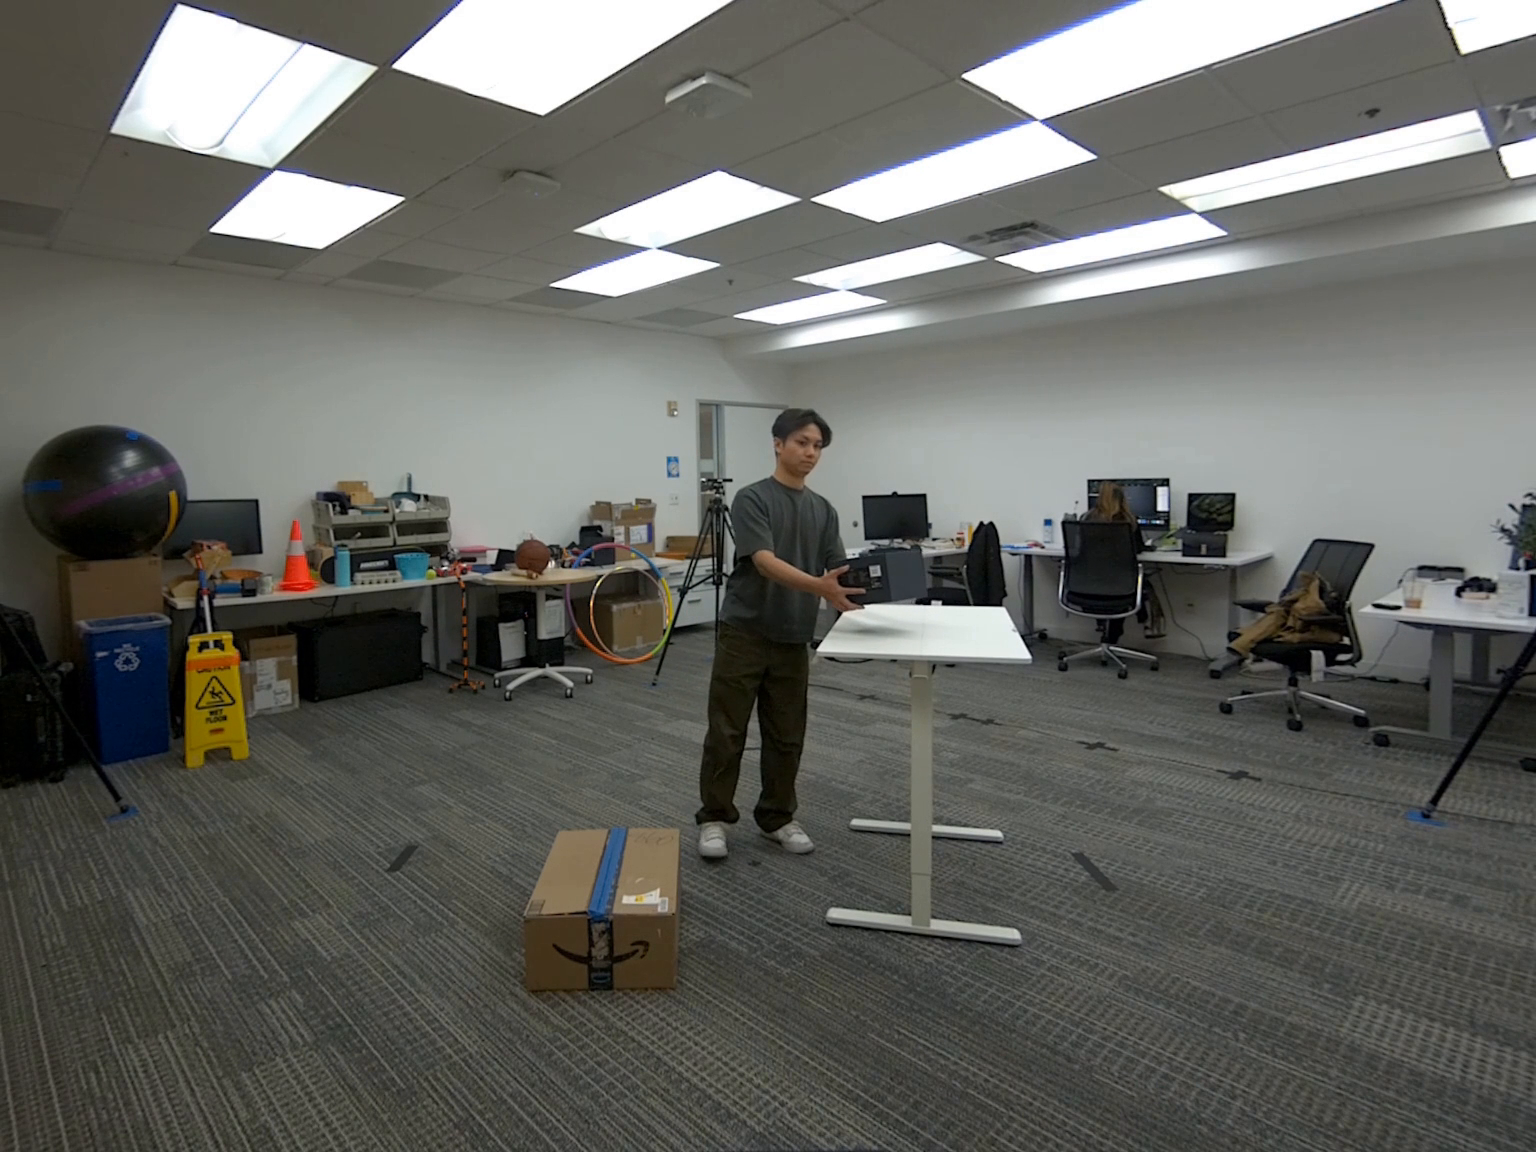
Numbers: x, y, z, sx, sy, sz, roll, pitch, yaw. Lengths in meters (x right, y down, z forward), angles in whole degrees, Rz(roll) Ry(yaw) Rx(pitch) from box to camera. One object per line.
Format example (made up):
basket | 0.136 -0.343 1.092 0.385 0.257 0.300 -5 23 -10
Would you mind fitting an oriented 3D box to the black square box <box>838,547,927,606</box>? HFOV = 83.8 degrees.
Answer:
black square box | 0.377 0.008 2.823 0.222 0.156 0.222 -9 -1 41
